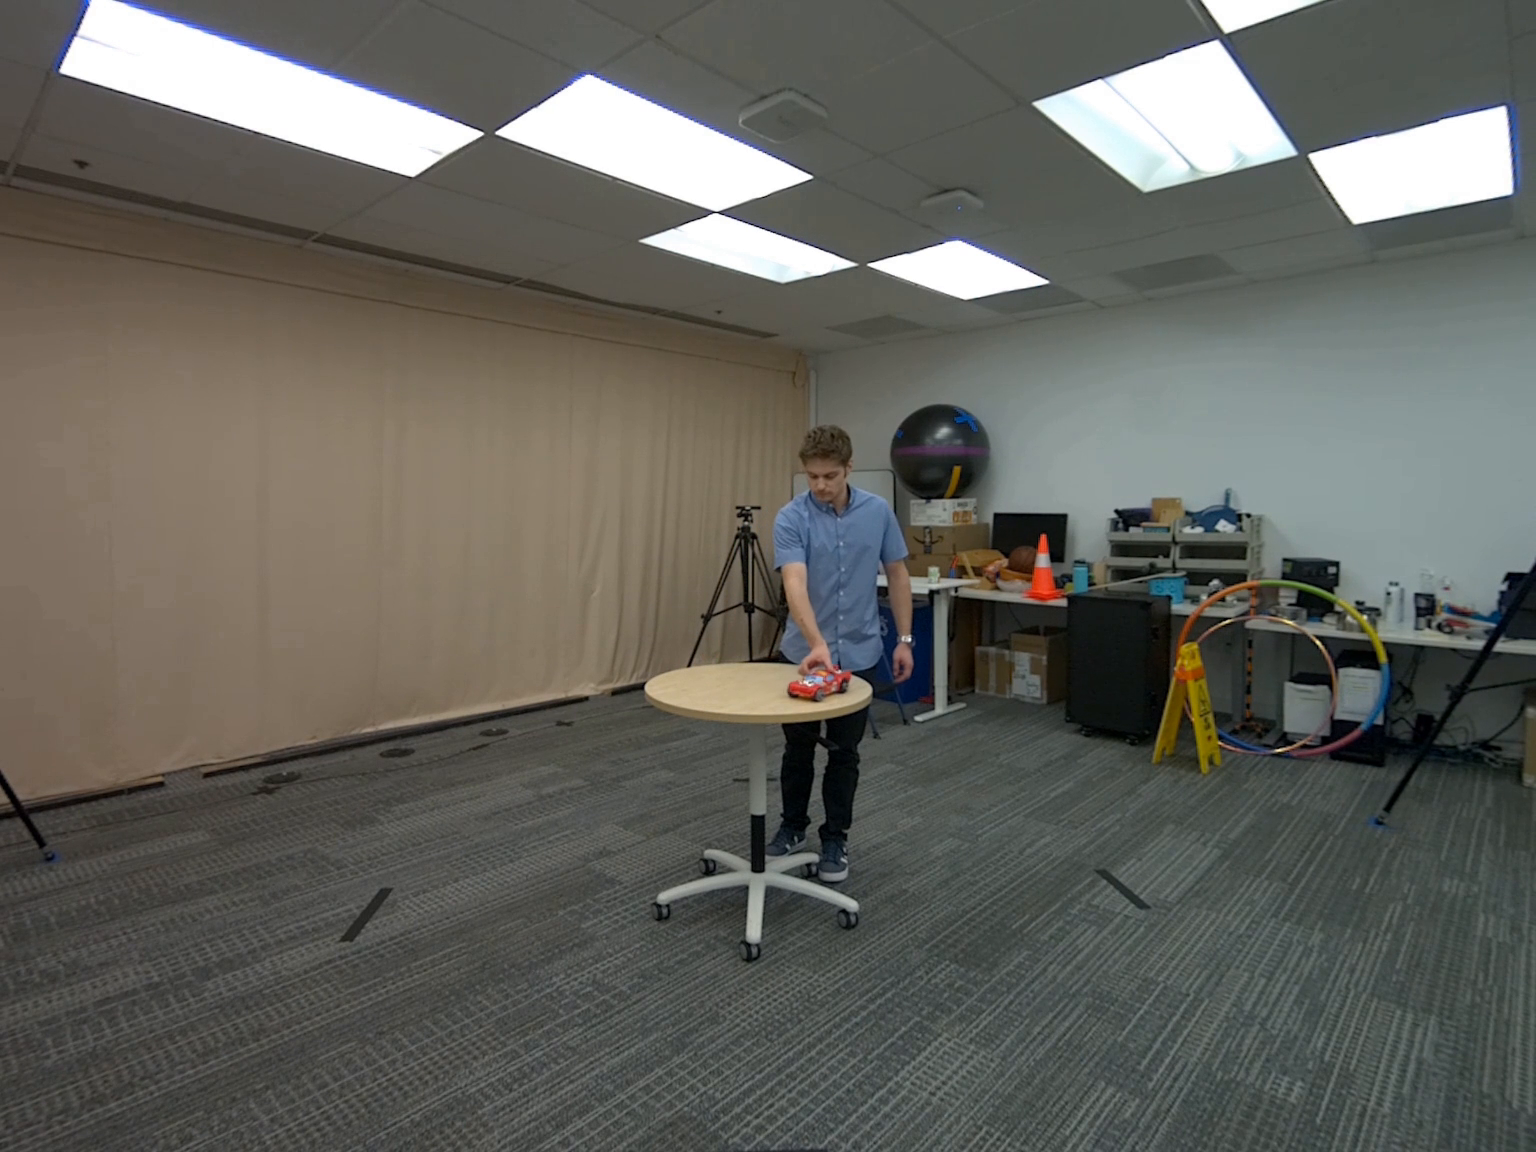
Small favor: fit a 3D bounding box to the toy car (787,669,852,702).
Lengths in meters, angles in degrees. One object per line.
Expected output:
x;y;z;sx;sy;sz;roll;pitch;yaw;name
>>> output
0.180;0.351;2.733;0.134;0.082;0.249;3;17;39;toy car
